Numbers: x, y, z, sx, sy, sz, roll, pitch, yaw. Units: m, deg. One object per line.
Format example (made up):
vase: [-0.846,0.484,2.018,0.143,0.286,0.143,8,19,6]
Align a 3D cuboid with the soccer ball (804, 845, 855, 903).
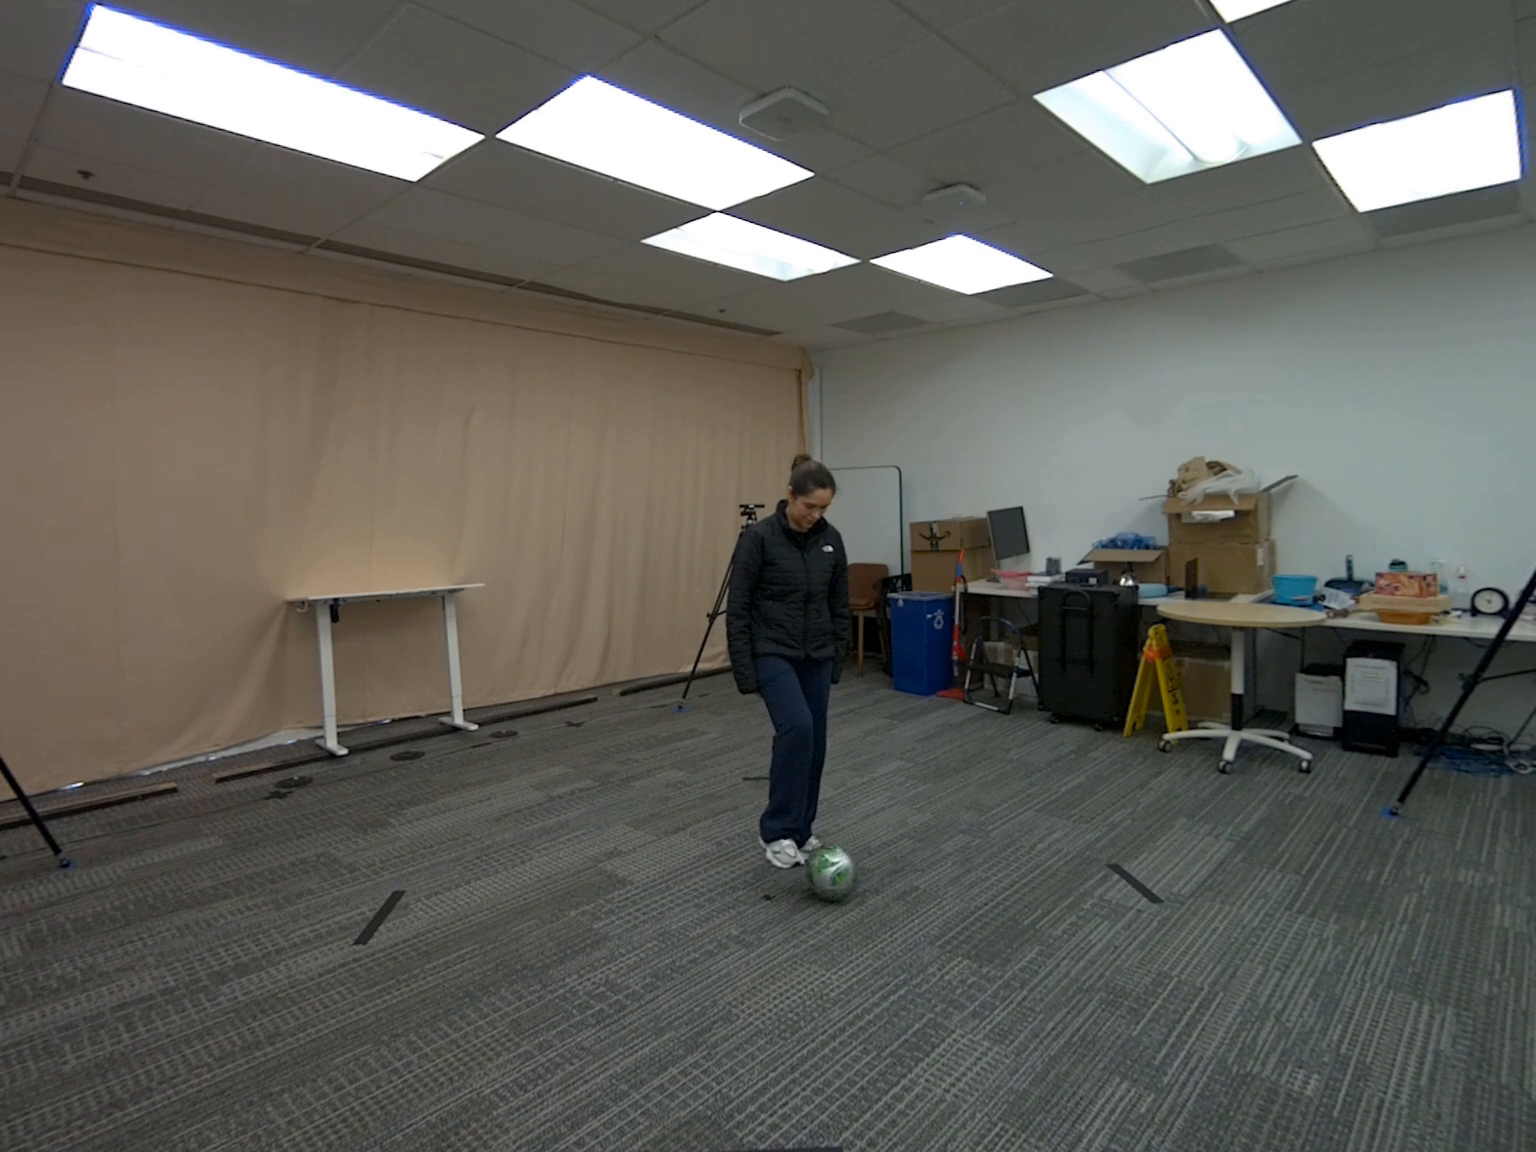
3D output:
soccer ball: [0.225,1.041,2.964,0.187,0.187,0.188,-1,4,-2]
